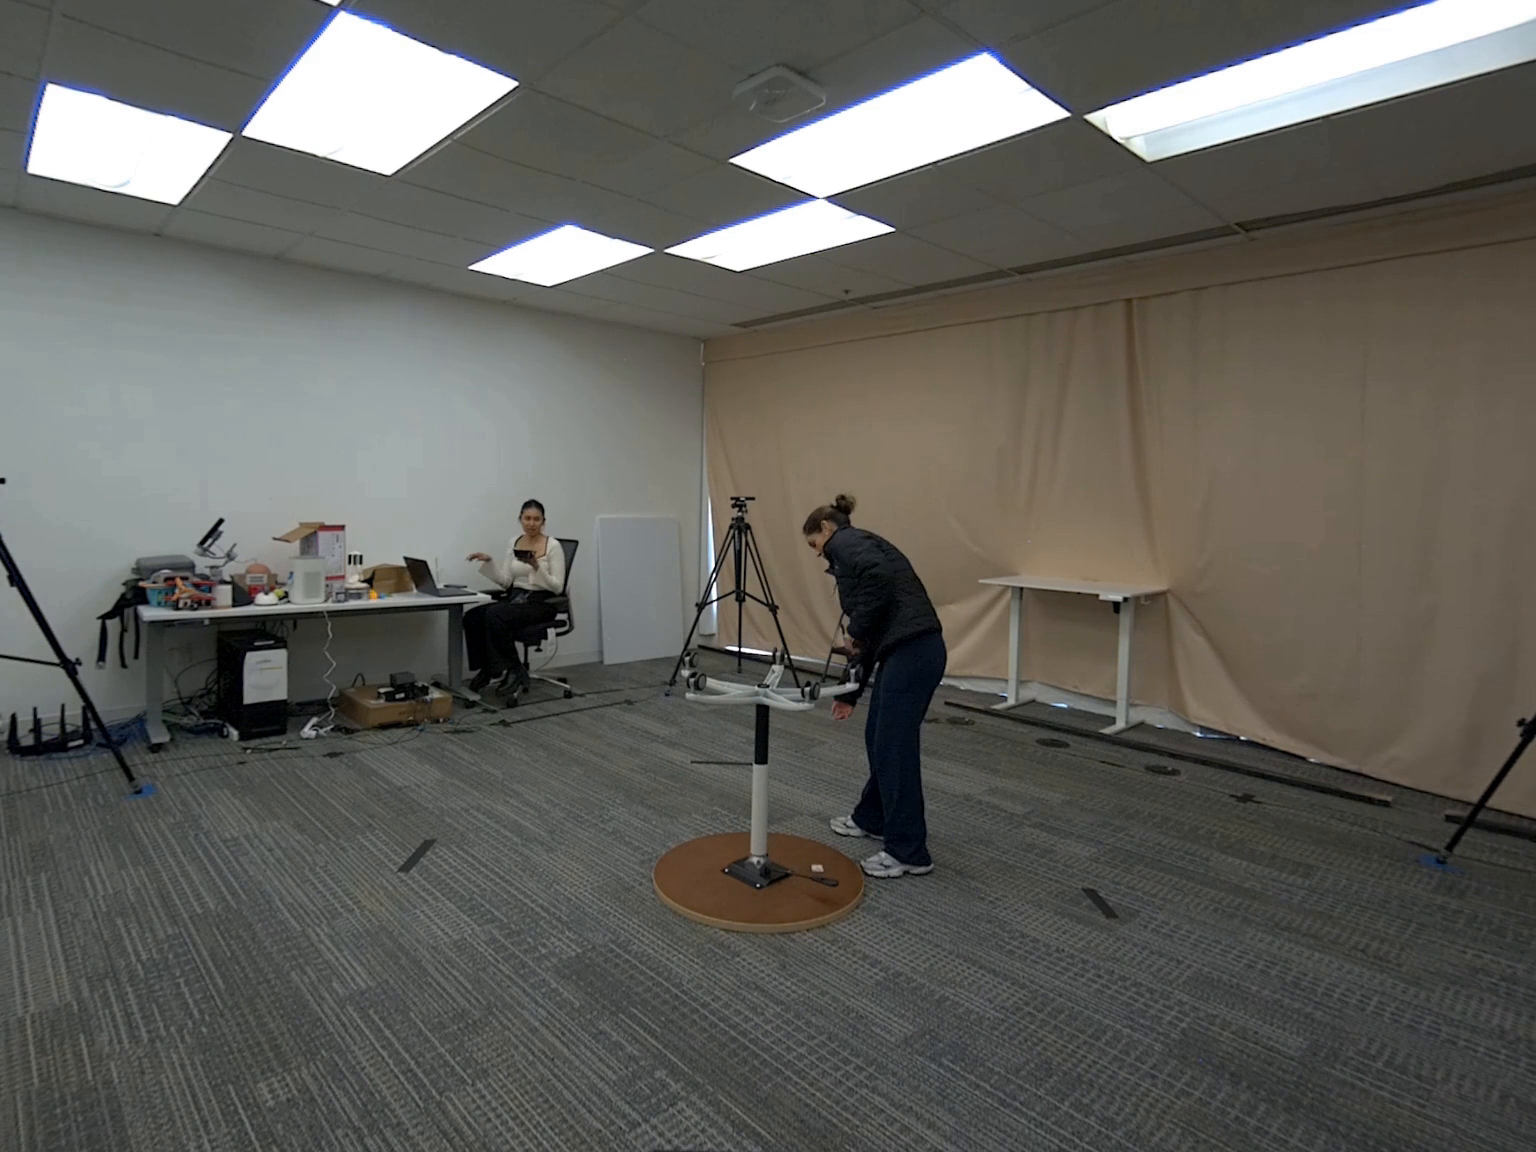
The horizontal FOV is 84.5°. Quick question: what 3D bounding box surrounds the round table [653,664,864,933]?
[{"bbox_3d":[-0.029,0.715,3.032,0.784,0.785,0.787,1,3,-1],"label":"round table"}]
